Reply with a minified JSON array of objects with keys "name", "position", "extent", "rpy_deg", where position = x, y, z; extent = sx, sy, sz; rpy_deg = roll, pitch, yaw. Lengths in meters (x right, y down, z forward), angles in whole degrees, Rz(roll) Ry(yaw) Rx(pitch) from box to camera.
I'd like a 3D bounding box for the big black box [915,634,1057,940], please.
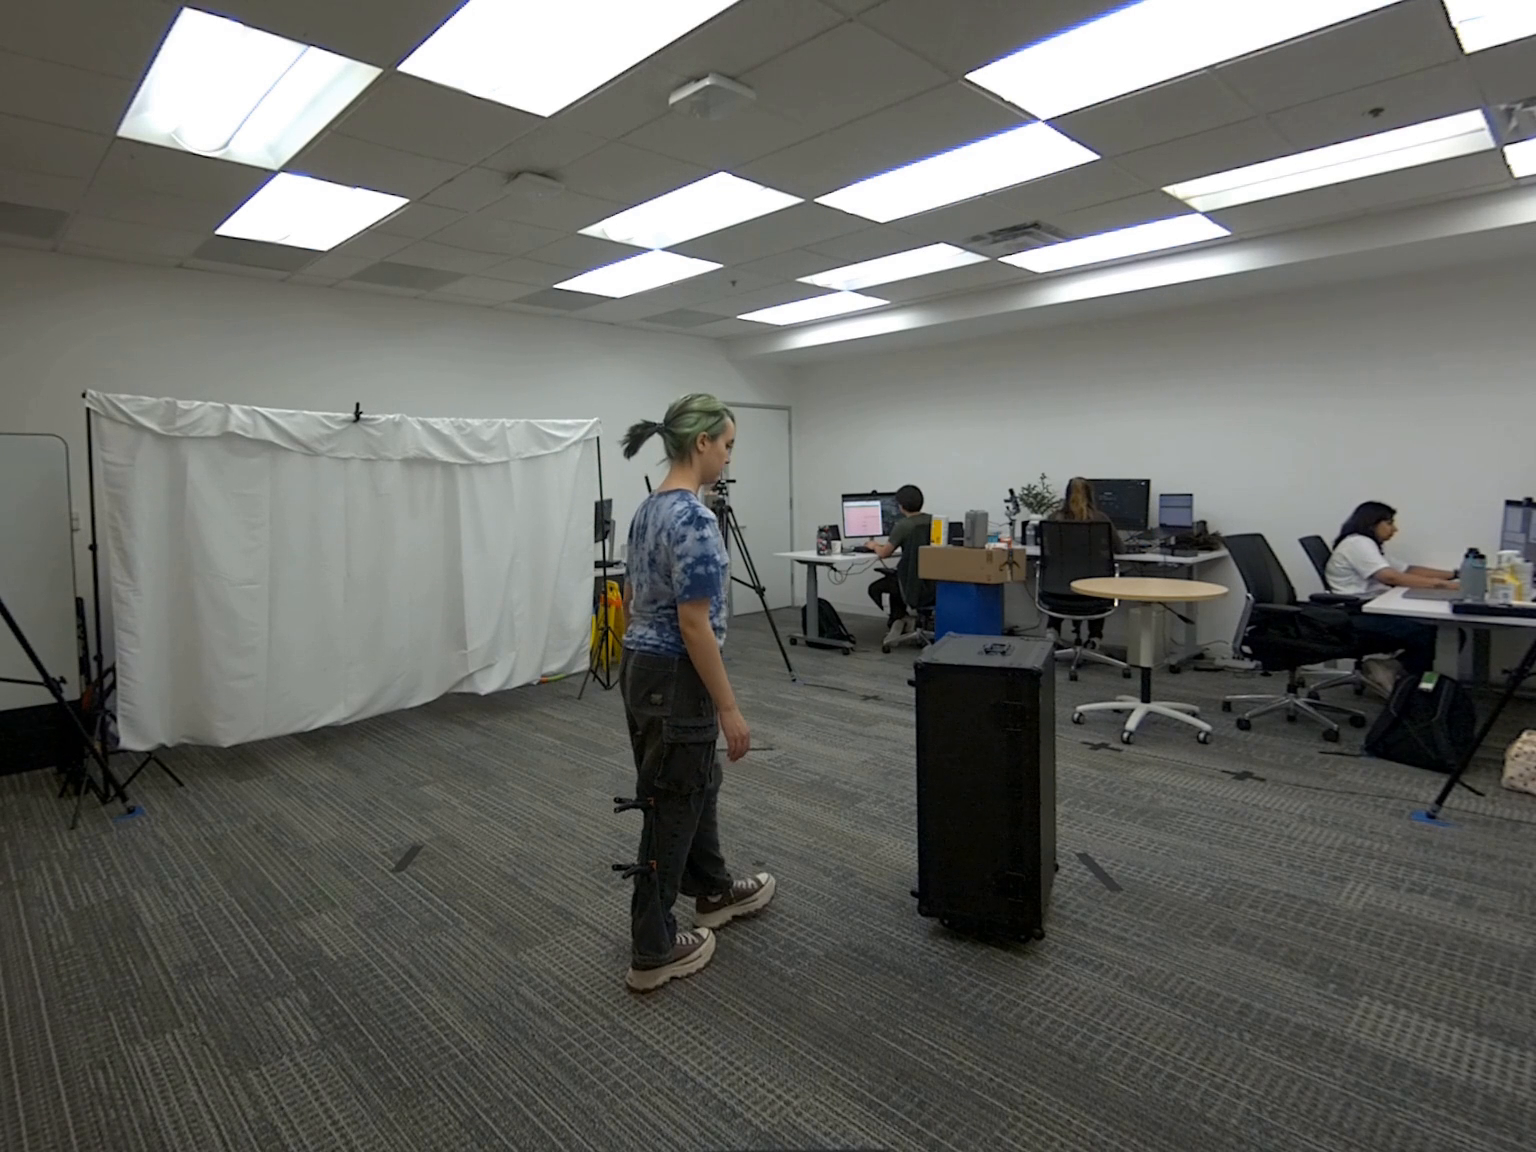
[{"name":"big black box","position":[0.694,0.656,2.703],"extent":[0.405,0.858,0.511],"rpy_deg":[0,5,25]}]
